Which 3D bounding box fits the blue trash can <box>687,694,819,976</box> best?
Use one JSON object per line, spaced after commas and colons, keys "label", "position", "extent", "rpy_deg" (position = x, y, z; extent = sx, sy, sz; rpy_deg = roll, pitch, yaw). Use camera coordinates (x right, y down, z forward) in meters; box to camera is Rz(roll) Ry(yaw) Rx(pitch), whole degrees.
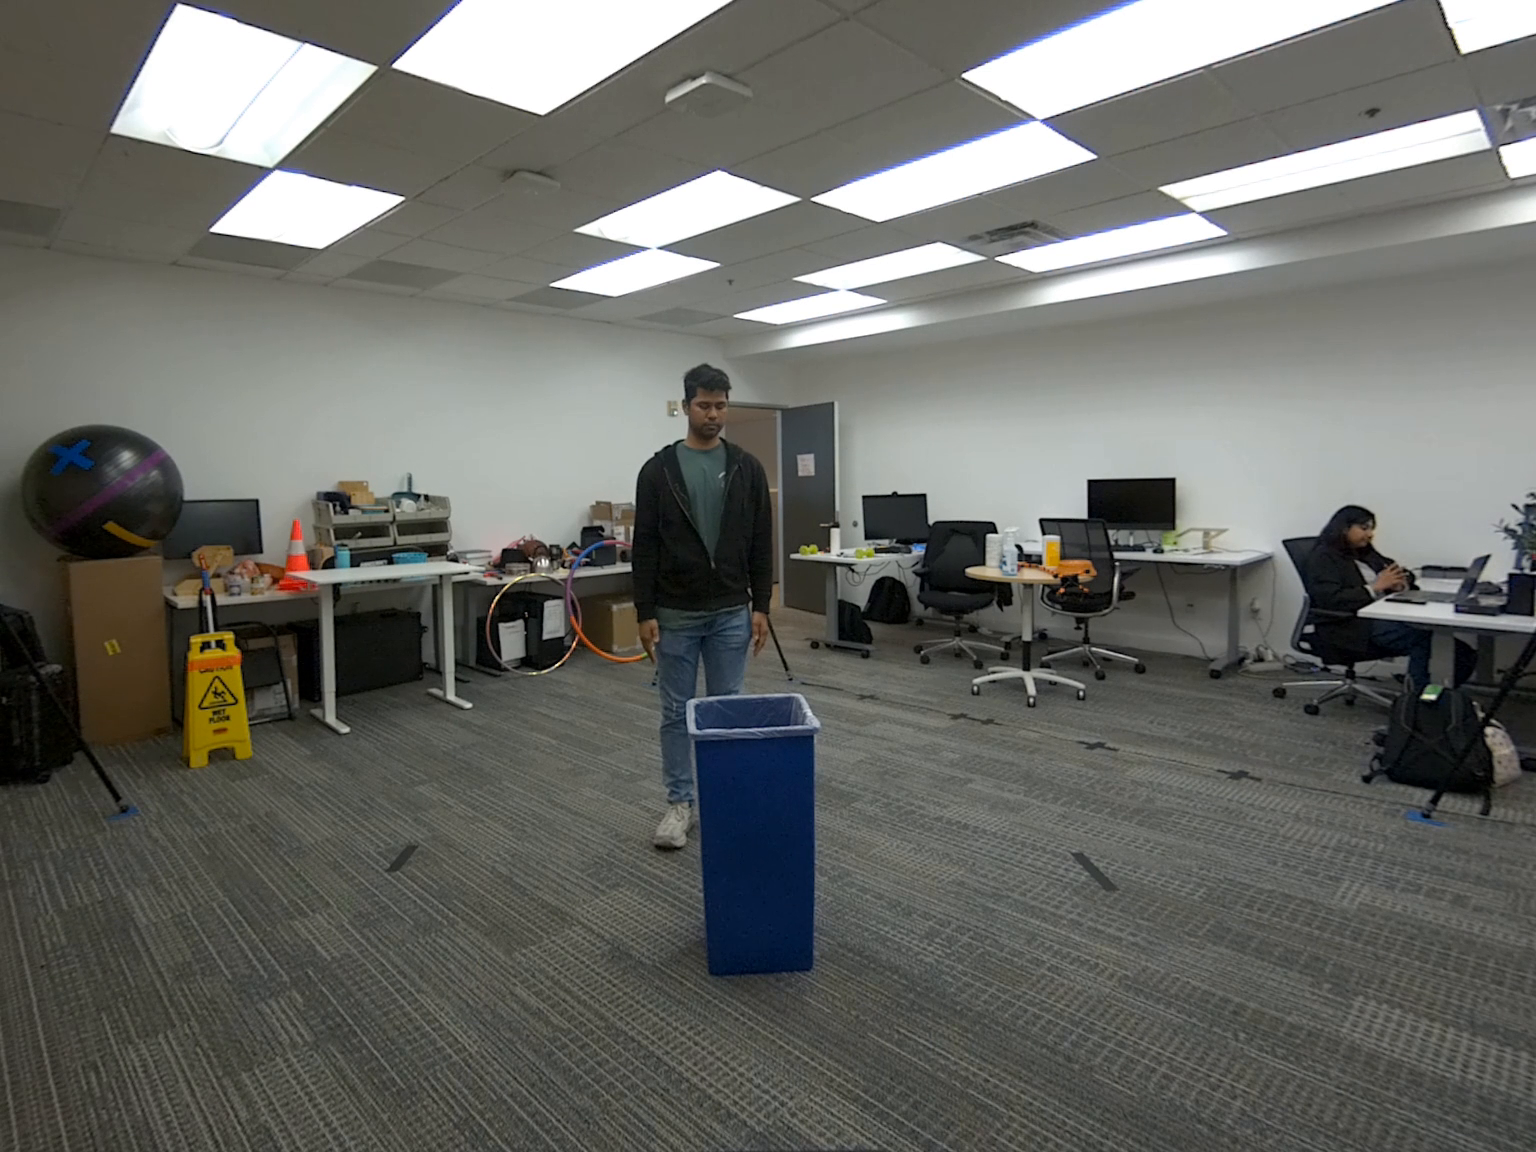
{"label": "blue trash can", "position": [-0.046, 0.755, 2.544], "extent": [0.376, 0.710, 0.377], "rpy_deg": [-2, 5, -6]}
